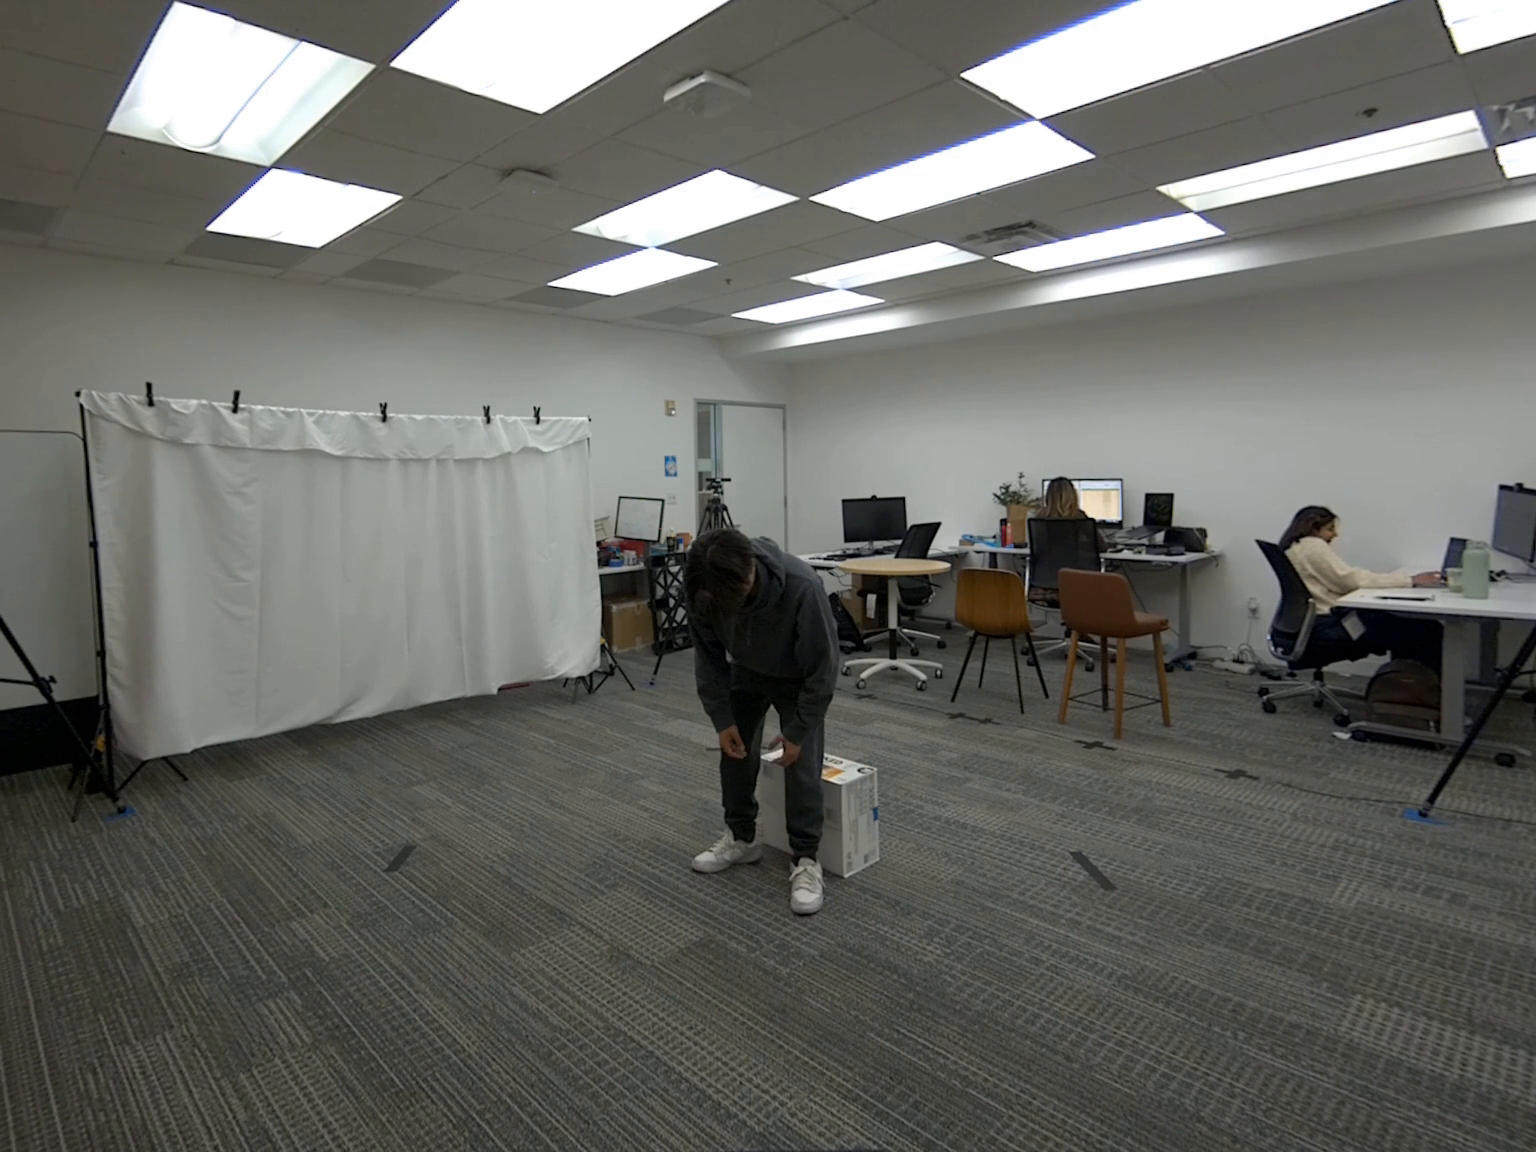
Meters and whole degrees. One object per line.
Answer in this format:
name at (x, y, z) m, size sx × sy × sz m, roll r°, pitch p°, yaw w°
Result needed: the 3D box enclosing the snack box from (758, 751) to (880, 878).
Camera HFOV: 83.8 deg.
snack box at (0.190, 0.861, 3.178) m, size 0.200 × 0.339 × 0.418 m, roll -7°, pitch 8°, yaw -44°
